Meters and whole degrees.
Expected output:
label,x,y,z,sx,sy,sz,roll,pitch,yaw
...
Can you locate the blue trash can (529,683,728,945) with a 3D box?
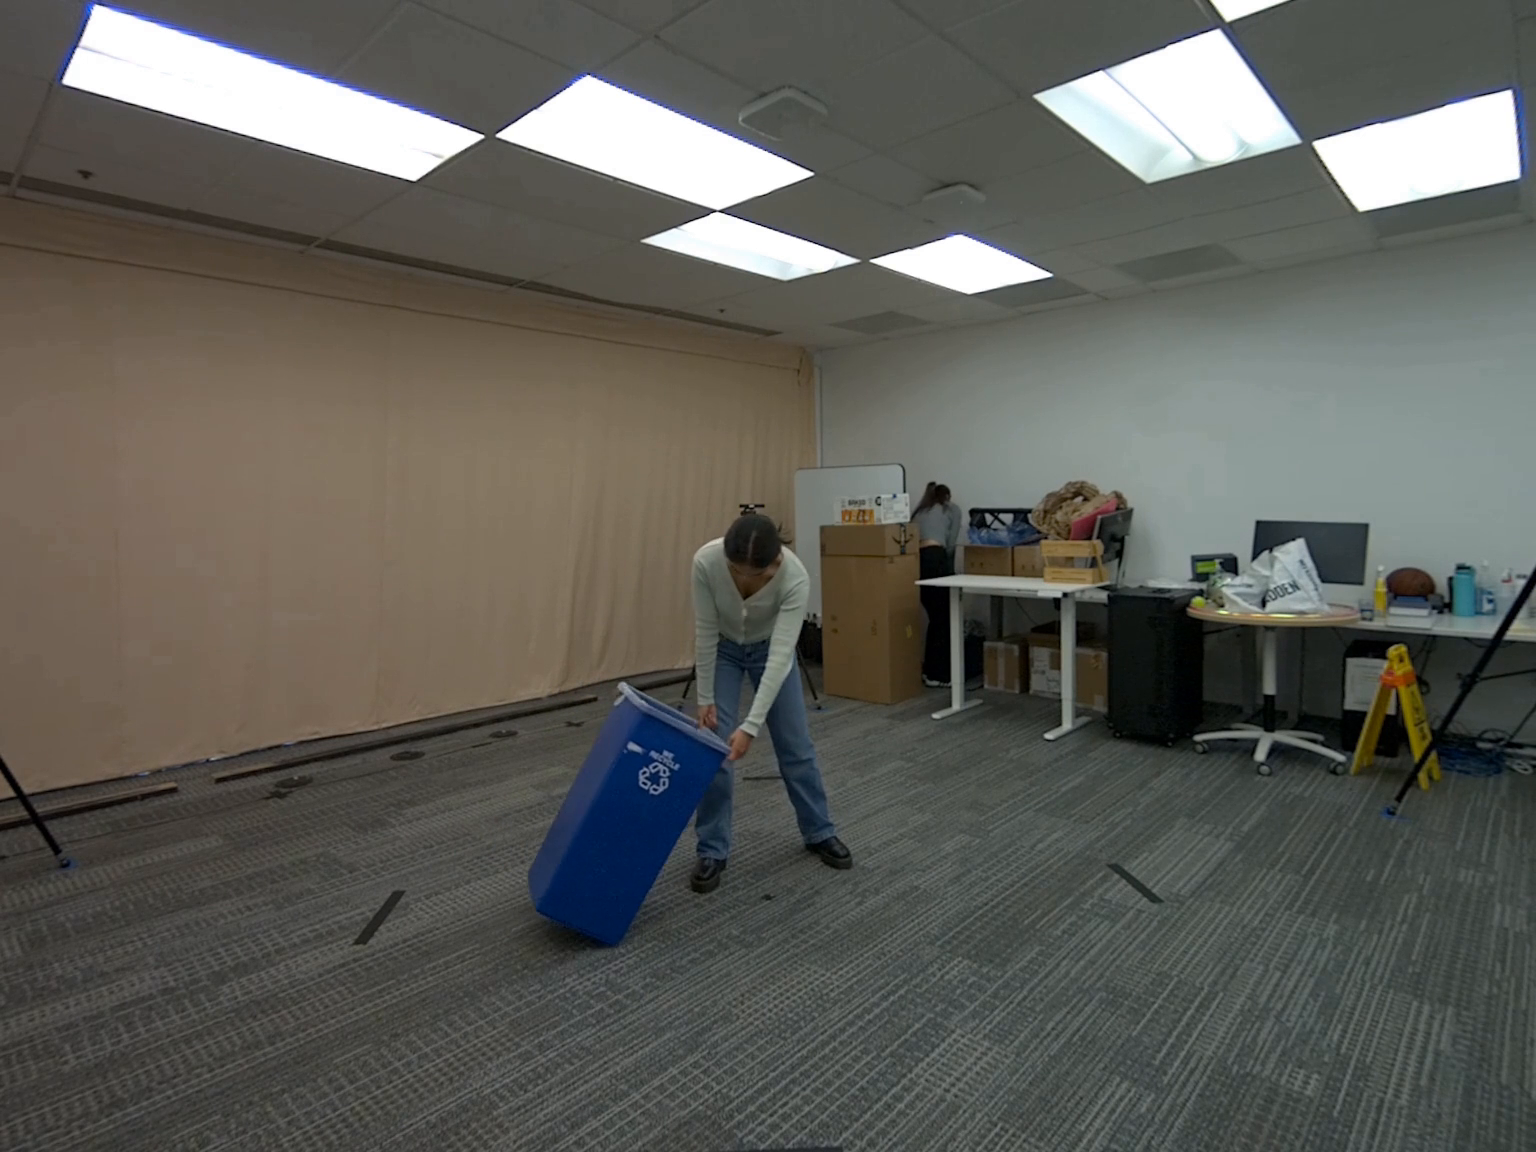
label,x,y,z,sx,sy,sz,roll,pitch,yaw
blue trash can,-0.466,0.784,2.808,0.366,0.714,0.386,30,-7,-20
